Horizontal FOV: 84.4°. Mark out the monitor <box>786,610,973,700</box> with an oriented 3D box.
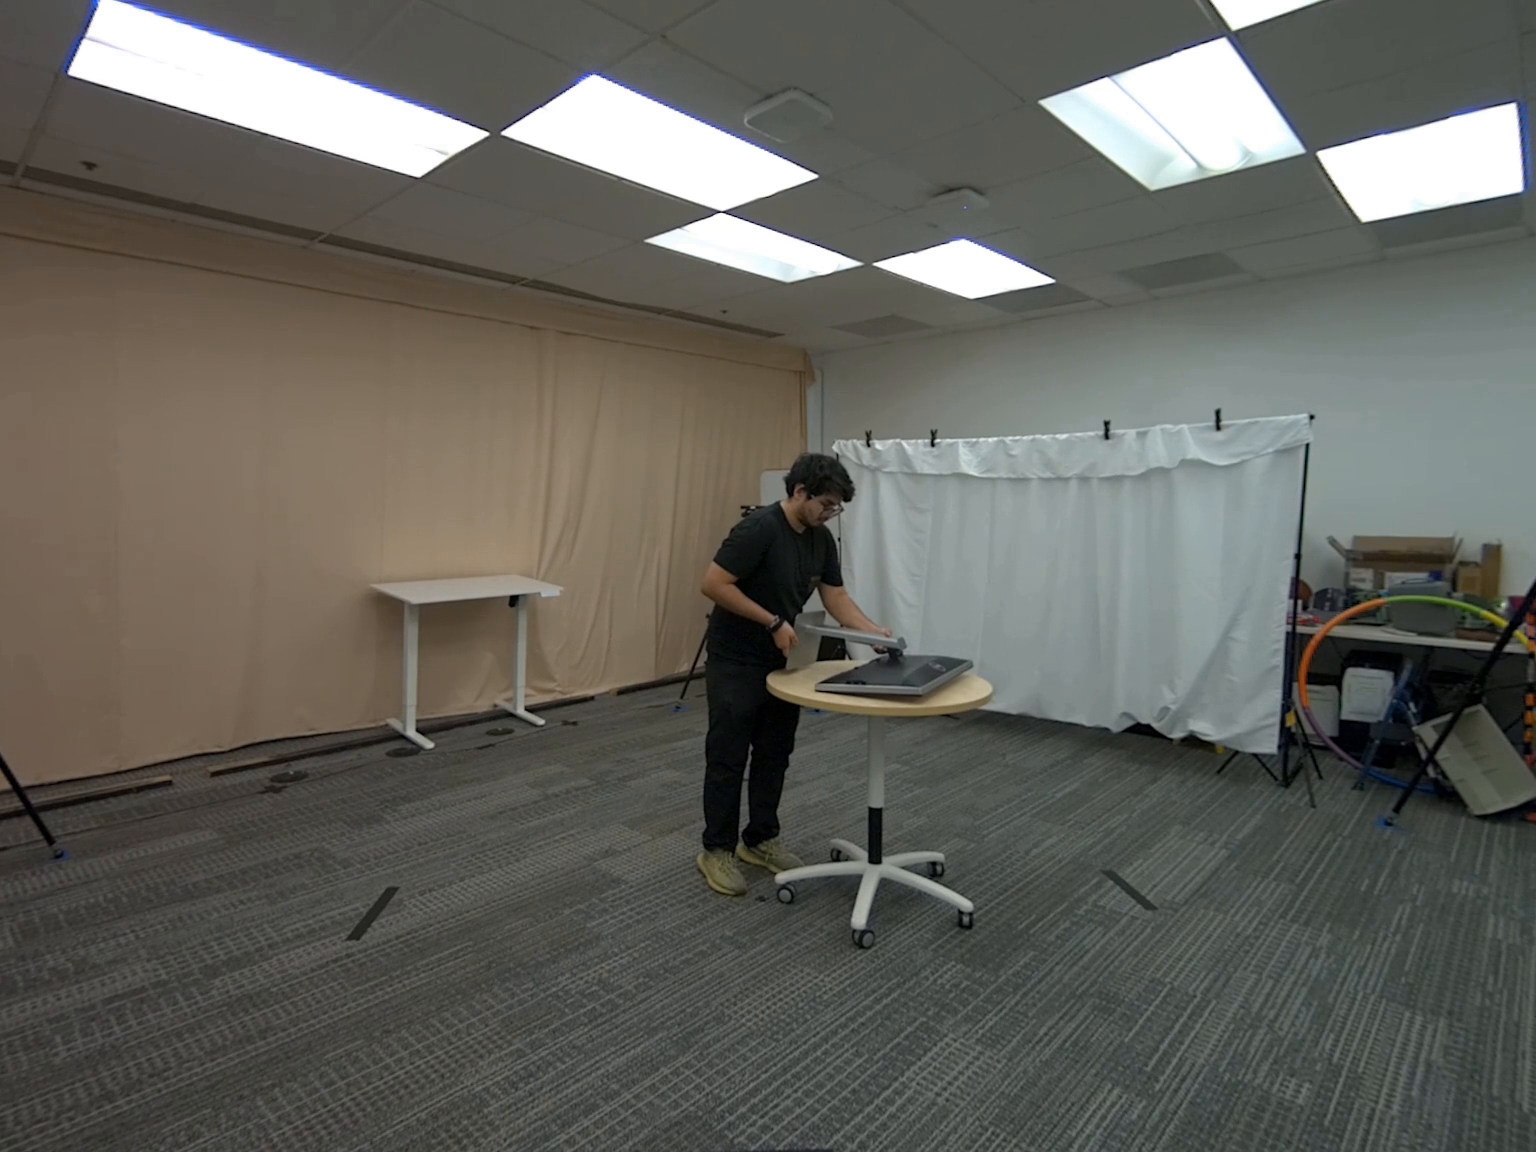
[{"bbox_3d":[0.371,0.259,2.922,0.571,0.209,0.550,5,6,31],"label":"monitor"}]
